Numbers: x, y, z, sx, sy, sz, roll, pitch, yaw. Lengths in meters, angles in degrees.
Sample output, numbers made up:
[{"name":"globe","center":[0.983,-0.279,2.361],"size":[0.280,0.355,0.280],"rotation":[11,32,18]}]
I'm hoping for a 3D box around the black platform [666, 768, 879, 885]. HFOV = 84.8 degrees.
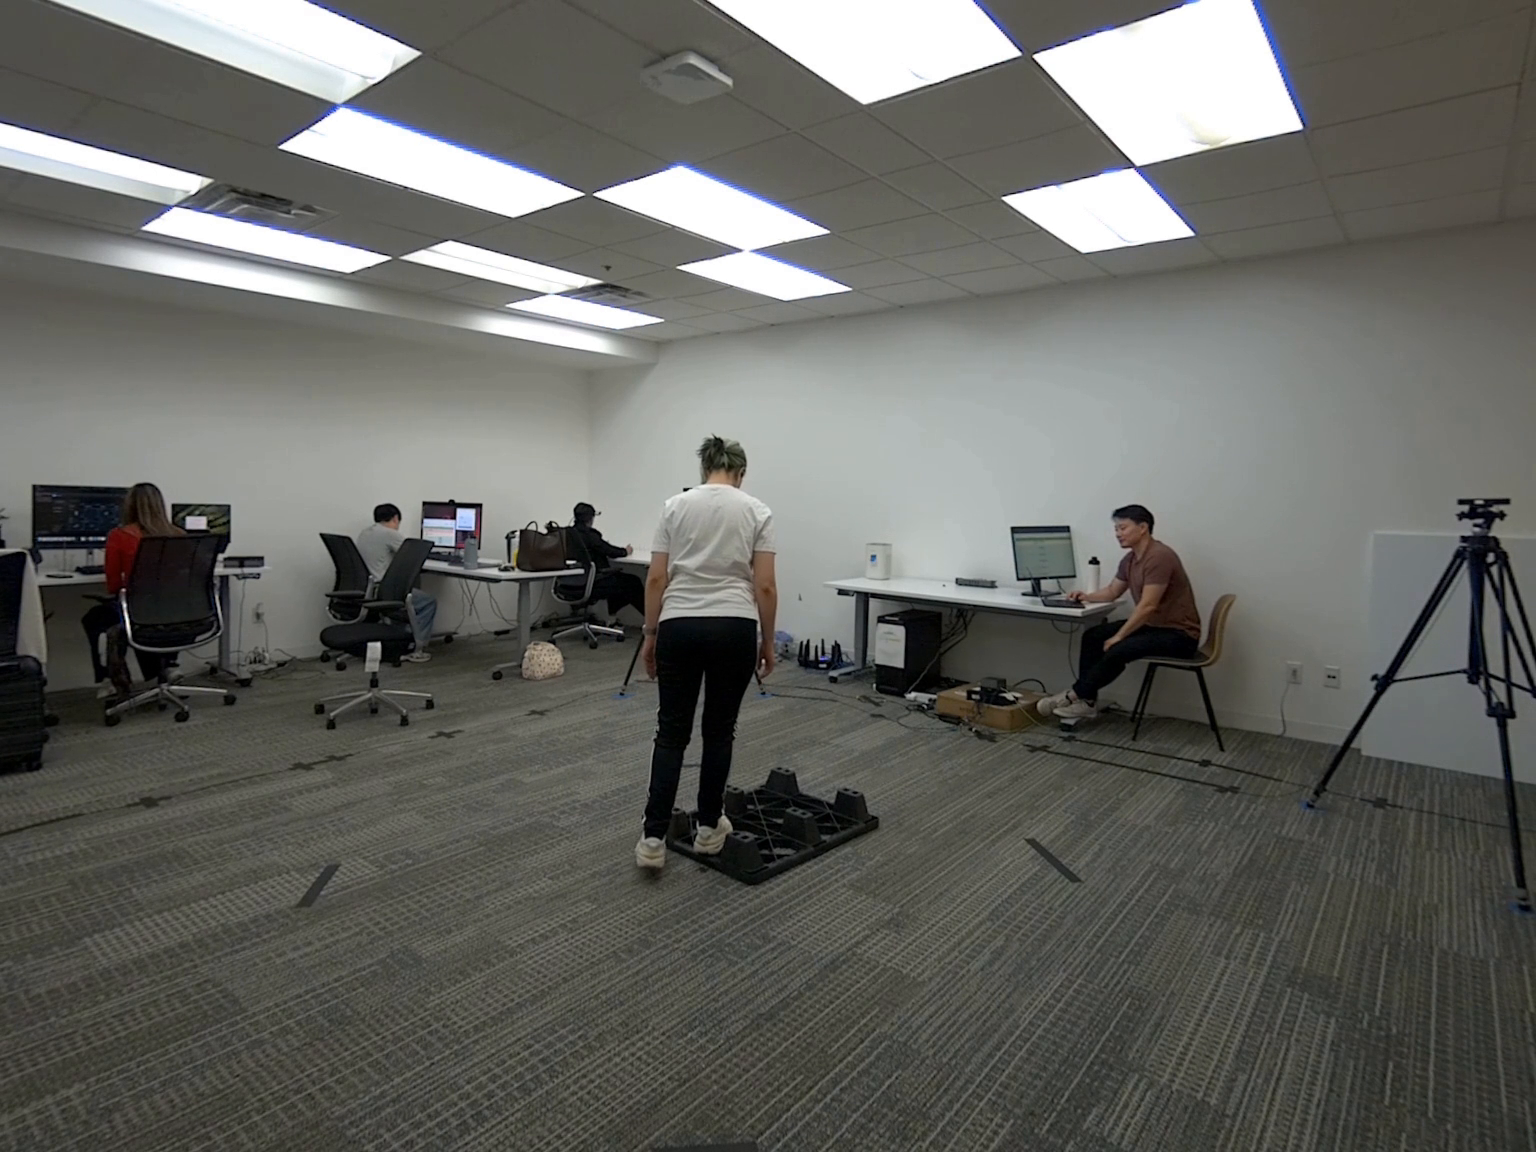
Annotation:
[{"name":"black platform","center":[-0.024,0.974,3.456],"size":[0.626,0.143,0.782],"rotation":[5,7,42]}]
